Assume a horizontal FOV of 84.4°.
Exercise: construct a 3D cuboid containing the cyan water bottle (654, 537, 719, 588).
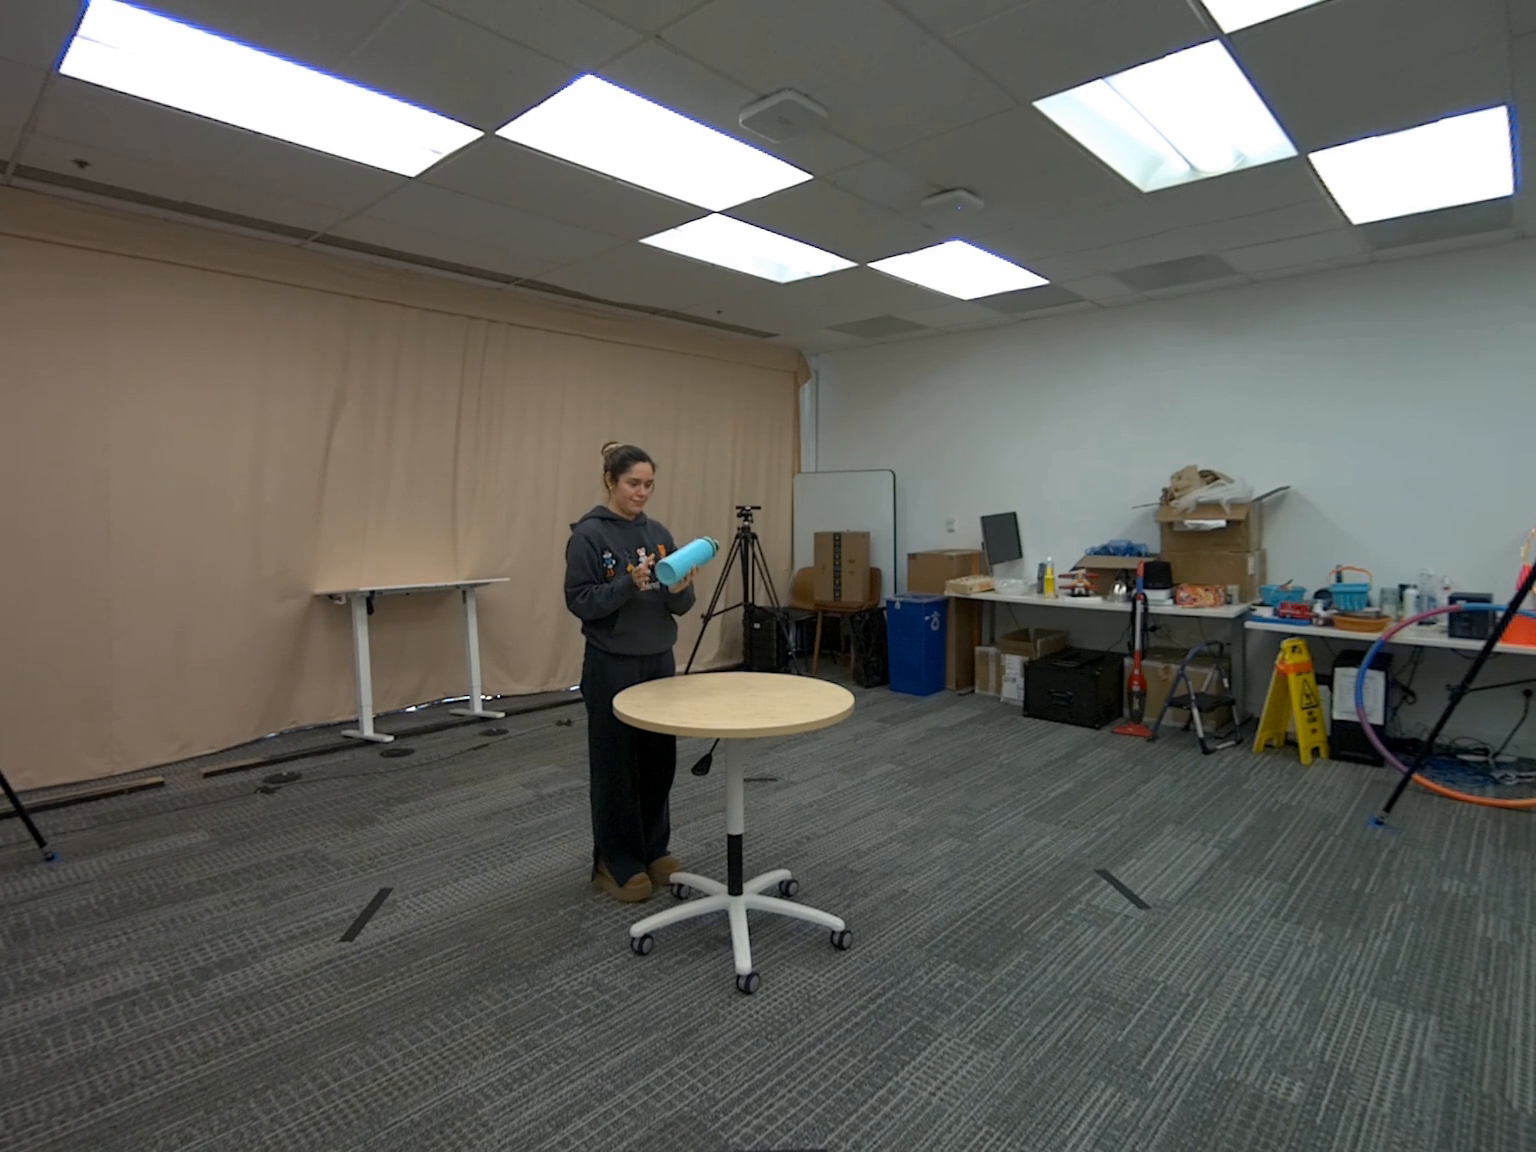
[{"bbox_3d":[-0.264,-0.057,2.869,0.095,0.091,0.279,2,25,34],"label":"cyan water bottle"}]
